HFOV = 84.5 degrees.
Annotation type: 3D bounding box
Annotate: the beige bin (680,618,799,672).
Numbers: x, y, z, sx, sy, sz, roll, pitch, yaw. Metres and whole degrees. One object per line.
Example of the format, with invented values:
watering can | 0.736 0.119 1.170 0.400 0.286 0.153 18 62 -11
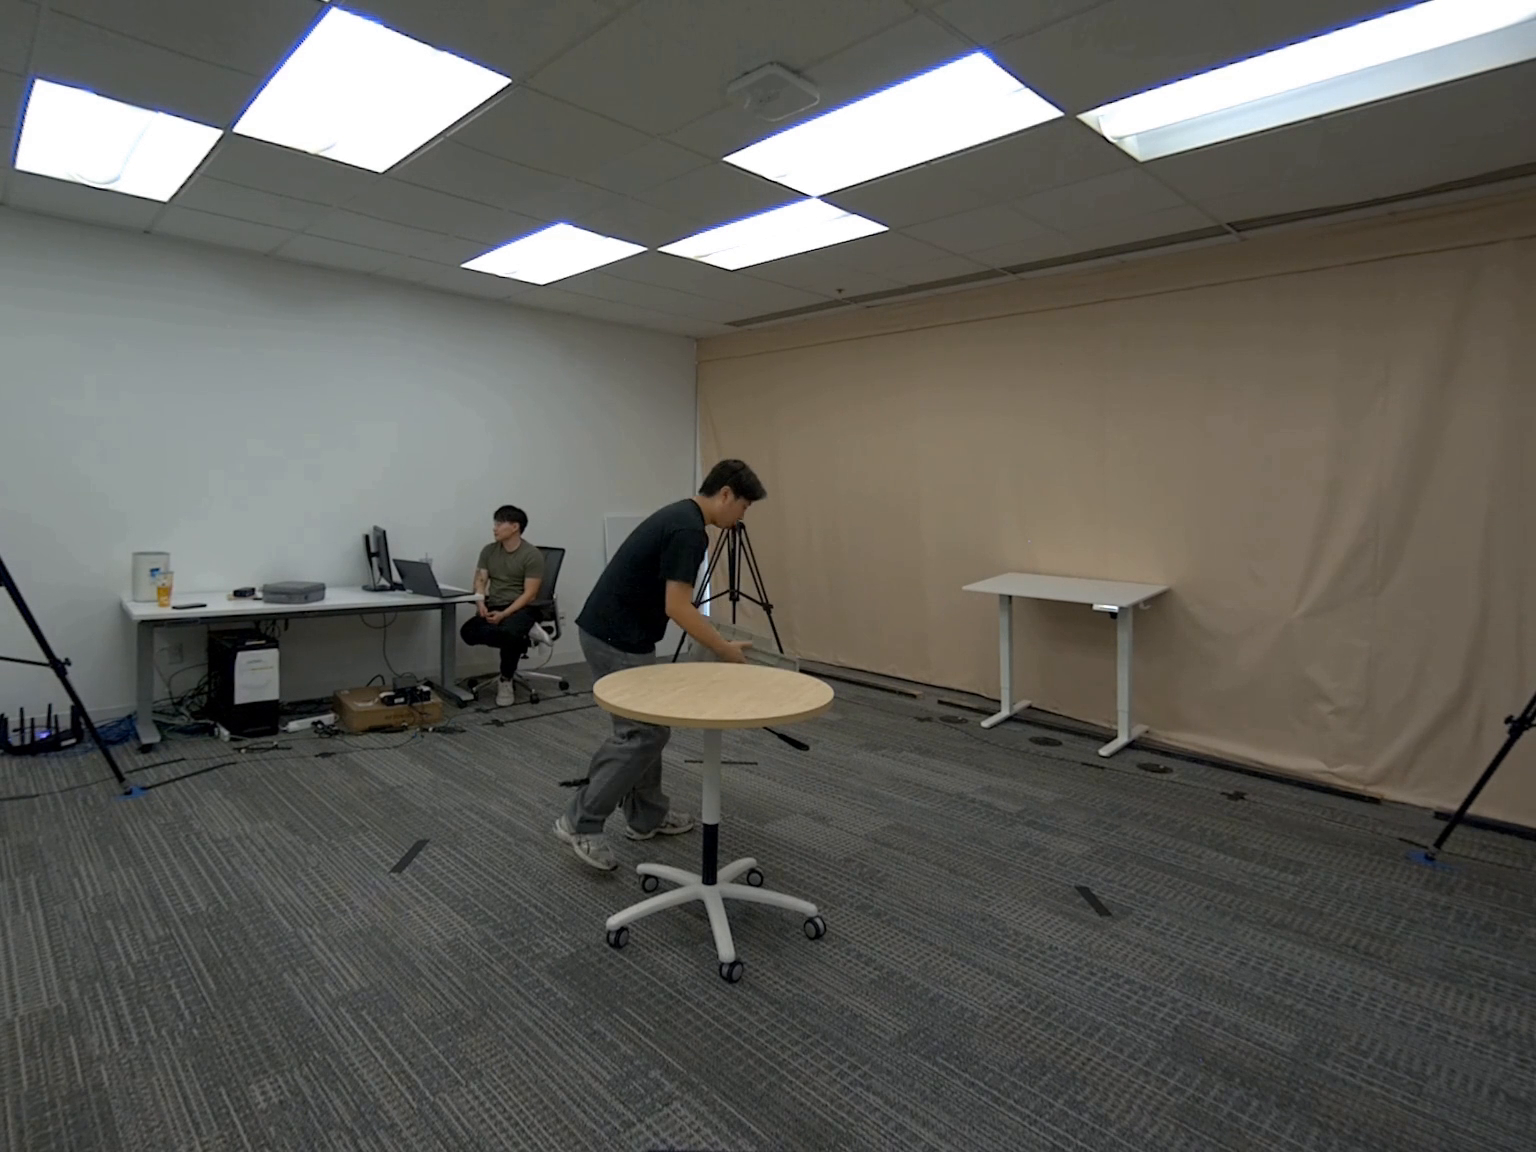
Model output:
beige bin | -0.106 0.341 3.477 0.372 0.189 0.429 16 4 -15
